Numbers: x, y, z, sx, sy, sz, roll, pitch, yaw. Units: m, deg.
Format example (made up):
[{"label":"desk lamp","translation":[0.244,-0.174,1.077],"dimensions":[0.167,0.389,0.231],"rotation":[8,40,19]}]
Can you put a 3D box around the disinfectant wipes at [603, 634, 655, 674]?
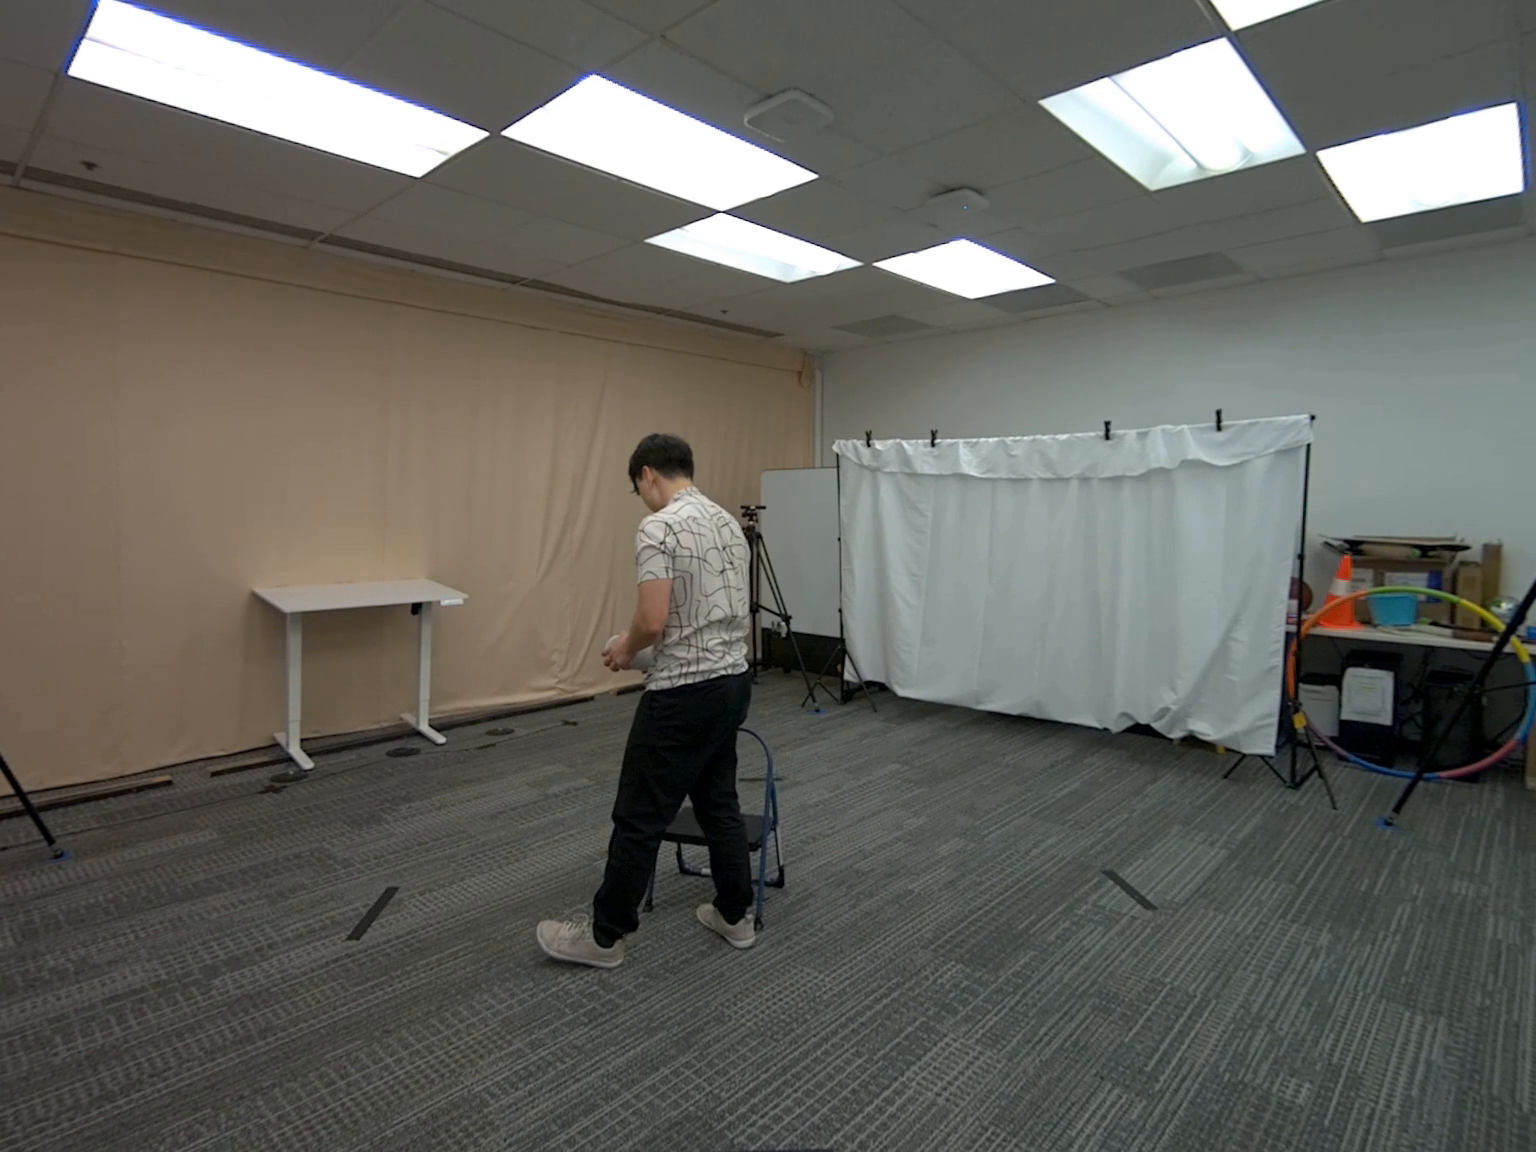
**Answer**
[{"label":"disinfectant wipes","translation":[-0.440,0.260,2.771],"dimensions":[0.121,0.118,0.210],"rotation":[2,-9,30]}]
